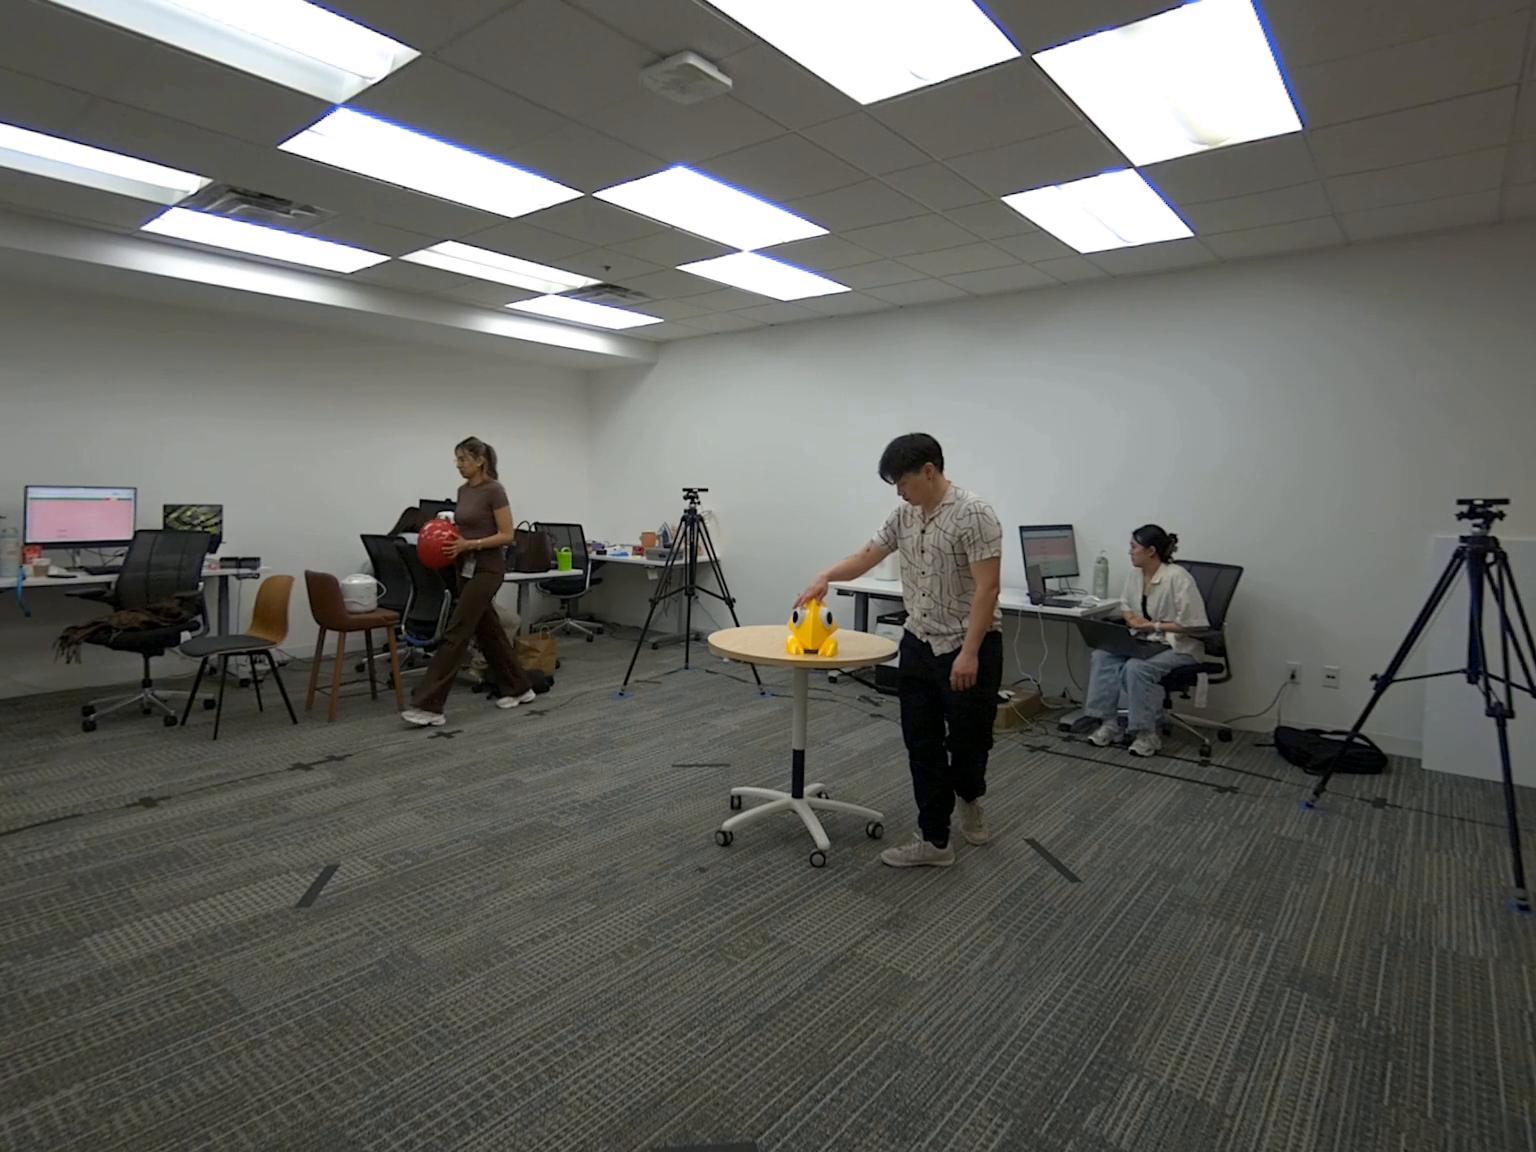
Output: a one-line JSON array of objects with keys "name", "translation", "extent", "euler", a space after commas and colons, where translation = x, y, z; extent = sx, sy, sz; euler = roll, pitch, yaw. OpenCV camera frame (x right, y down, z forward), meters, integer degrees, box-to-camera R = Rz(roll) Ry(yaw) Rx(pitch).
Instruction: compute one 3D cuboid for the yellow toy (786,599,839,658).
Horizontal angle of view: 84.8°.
[{"name": "yellow toy", "translation": [0.160, 0.168, 3.250], "extent": [0.206, 0.230, 0.192], "euler": [2, 4, 5]}]
